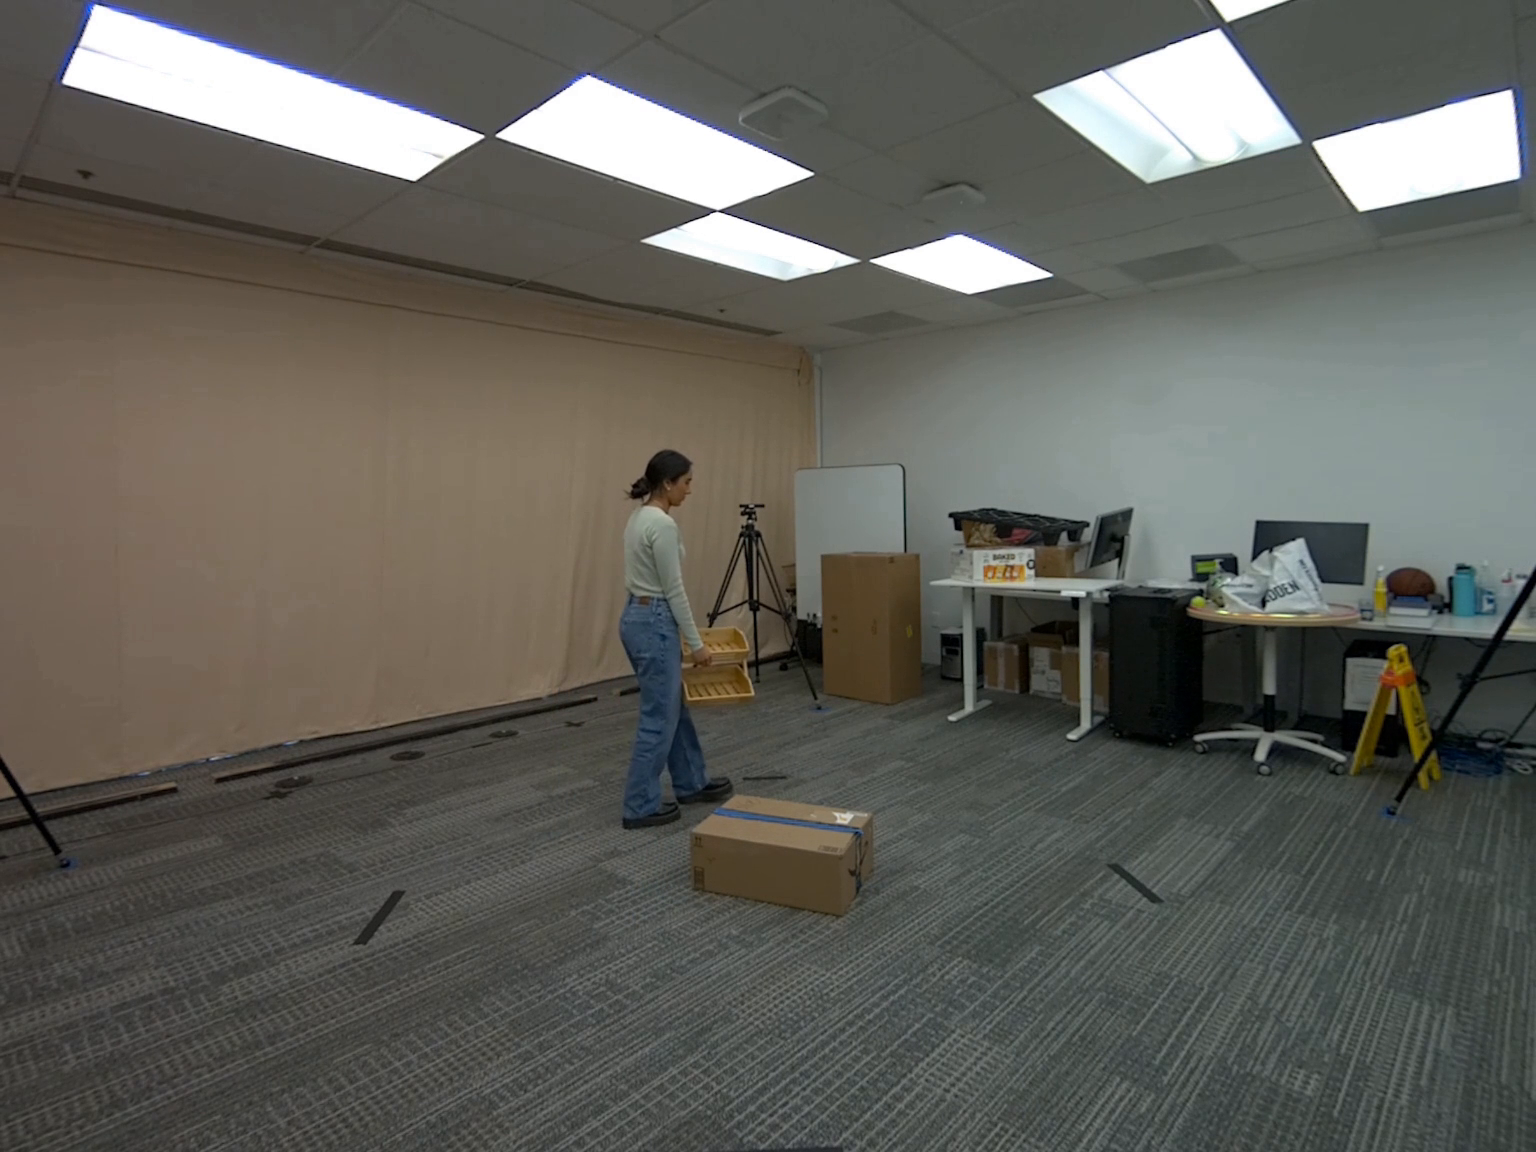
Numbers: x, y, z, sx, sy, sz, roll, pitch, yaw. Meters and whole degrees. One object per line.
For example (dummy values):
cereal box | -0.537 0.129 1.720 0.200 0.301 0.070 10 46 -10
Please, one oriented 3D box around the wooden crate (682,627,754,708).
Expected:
wooden crate | -0.236 0.397 3.736 0.319 0.271 0.310 -2 14 -18
